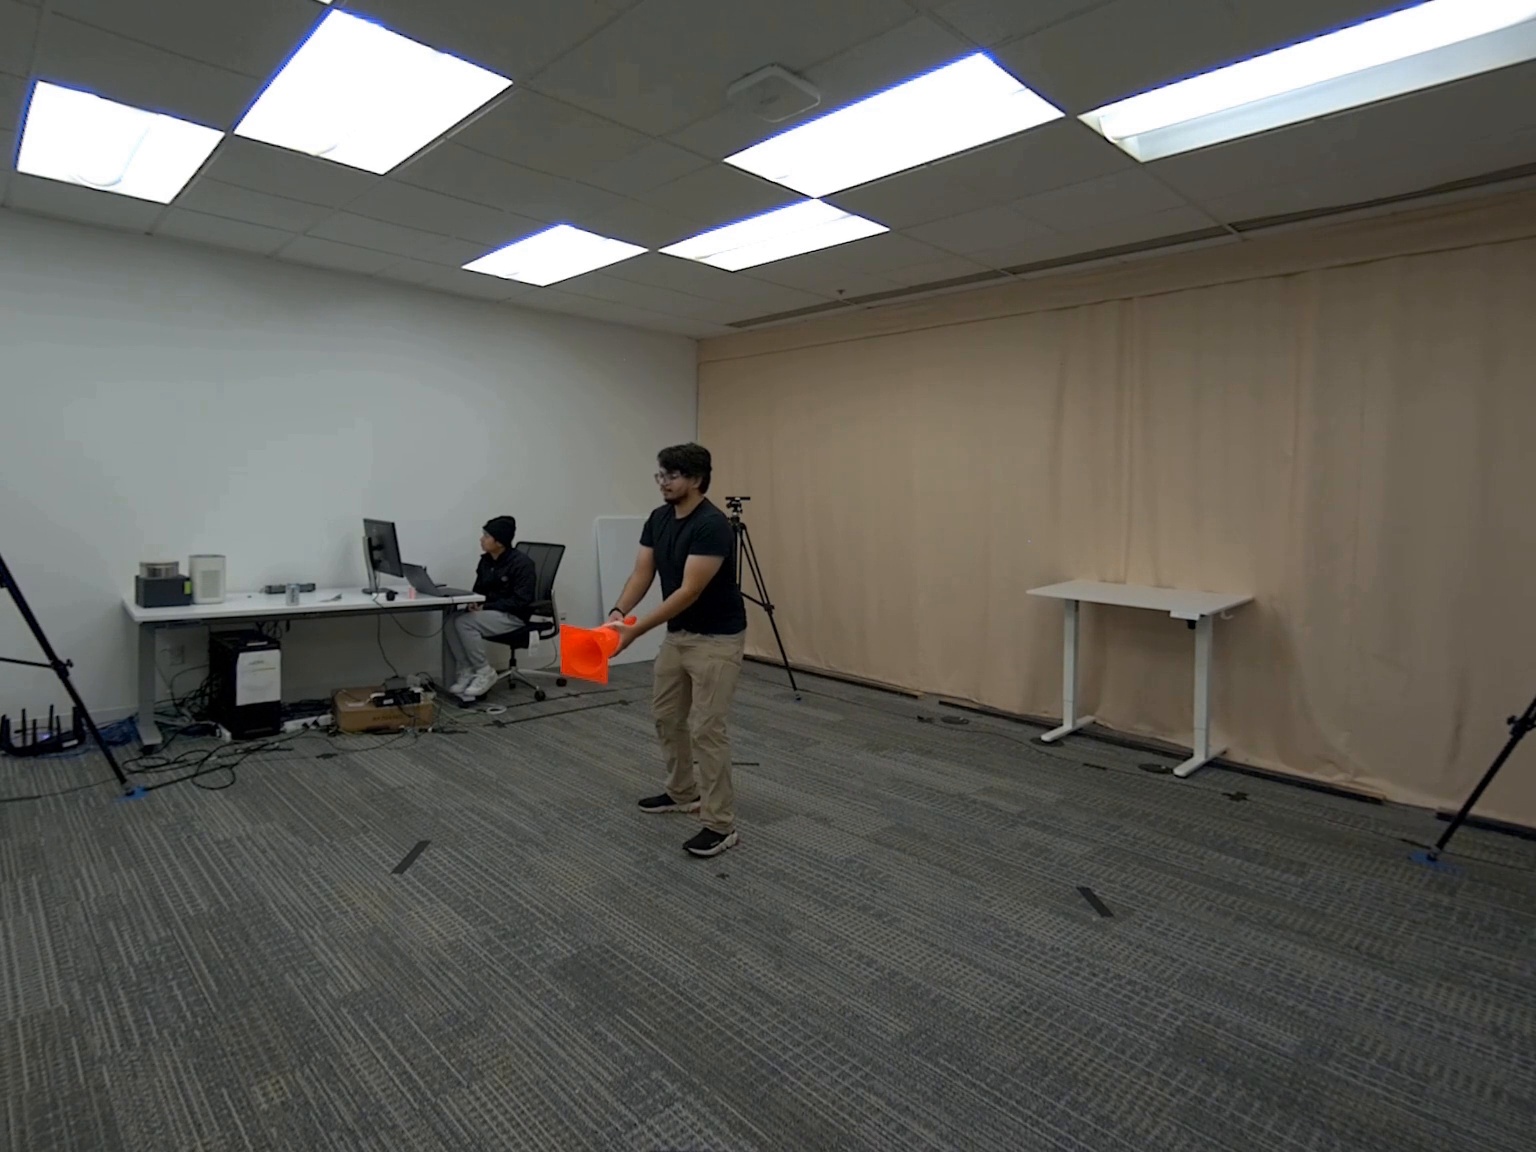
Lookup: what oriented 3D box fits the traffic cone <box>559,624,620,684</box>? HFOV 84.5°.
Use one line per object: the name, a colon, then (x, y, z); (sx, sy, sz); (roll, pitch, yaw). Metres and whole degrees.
traffic cone: (-0.607, 0.235, 3.218); (0.209, 0.201, 0.381); (6, 18, 21)
